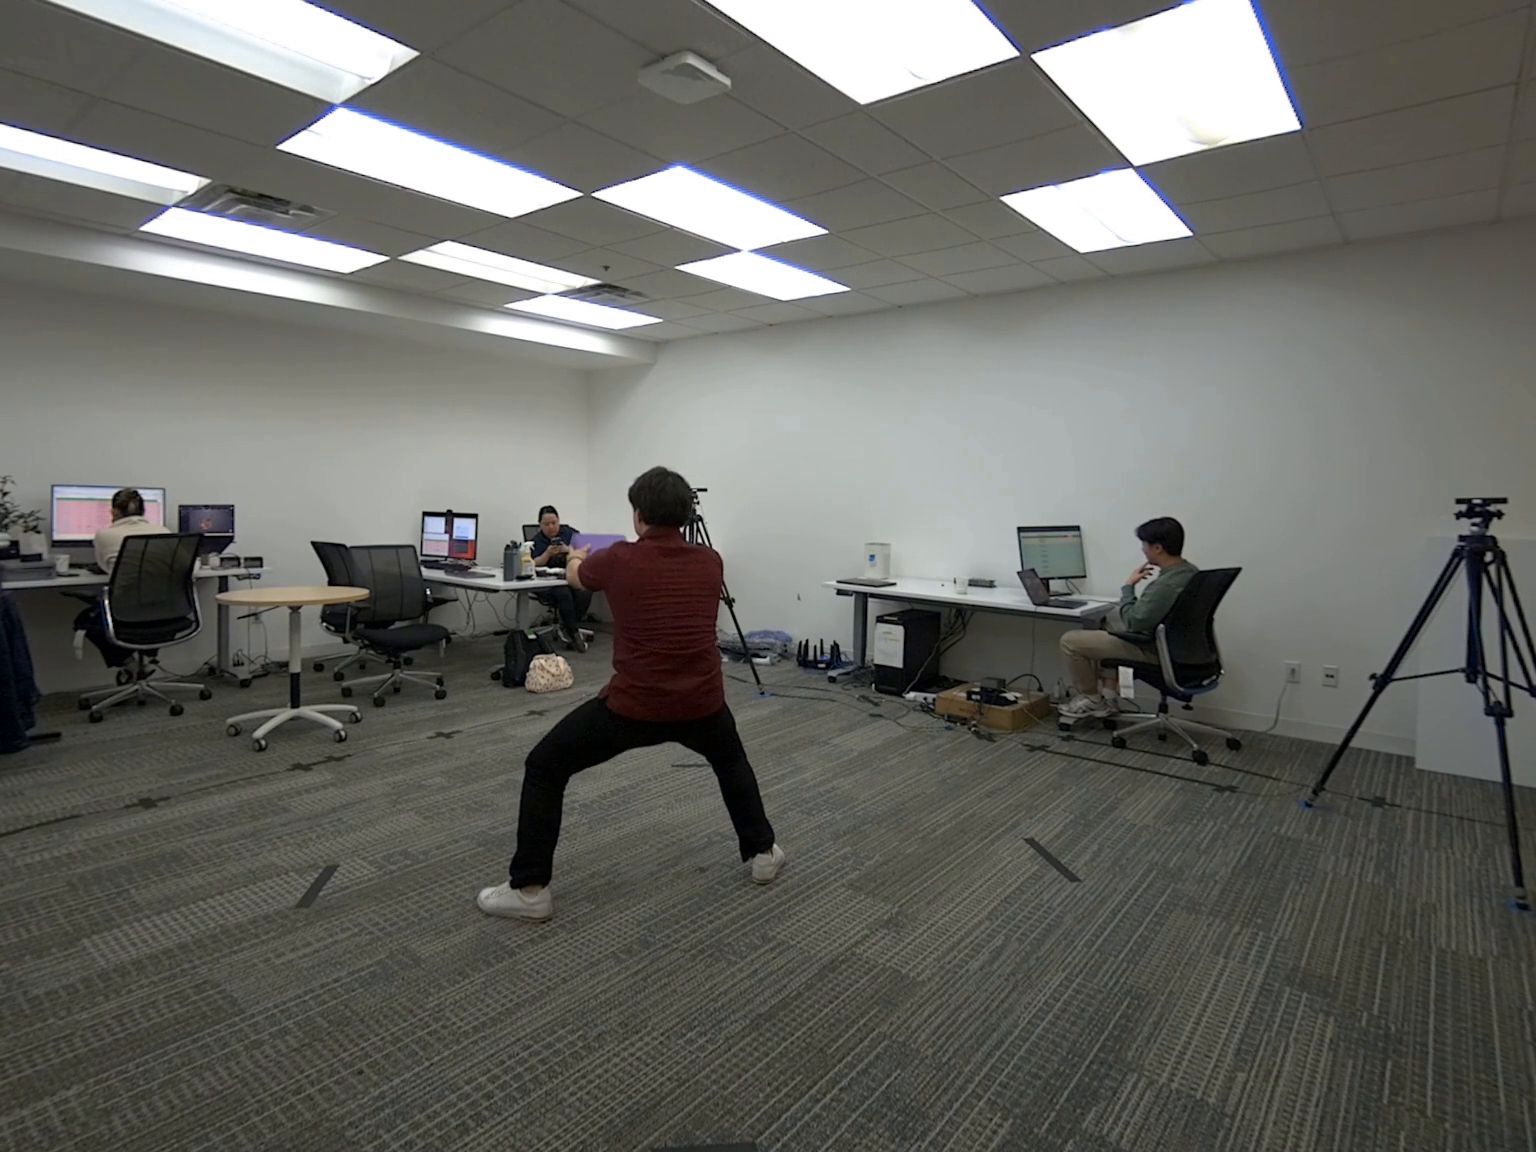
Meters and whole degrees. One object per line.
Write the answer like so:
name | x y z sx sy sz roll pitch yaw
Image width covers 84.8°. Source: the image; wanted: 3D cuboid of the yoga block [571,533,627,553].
yoga block | -0.651 -0.075 3.393 0.223 0.075 0.155 -2 29 -28
